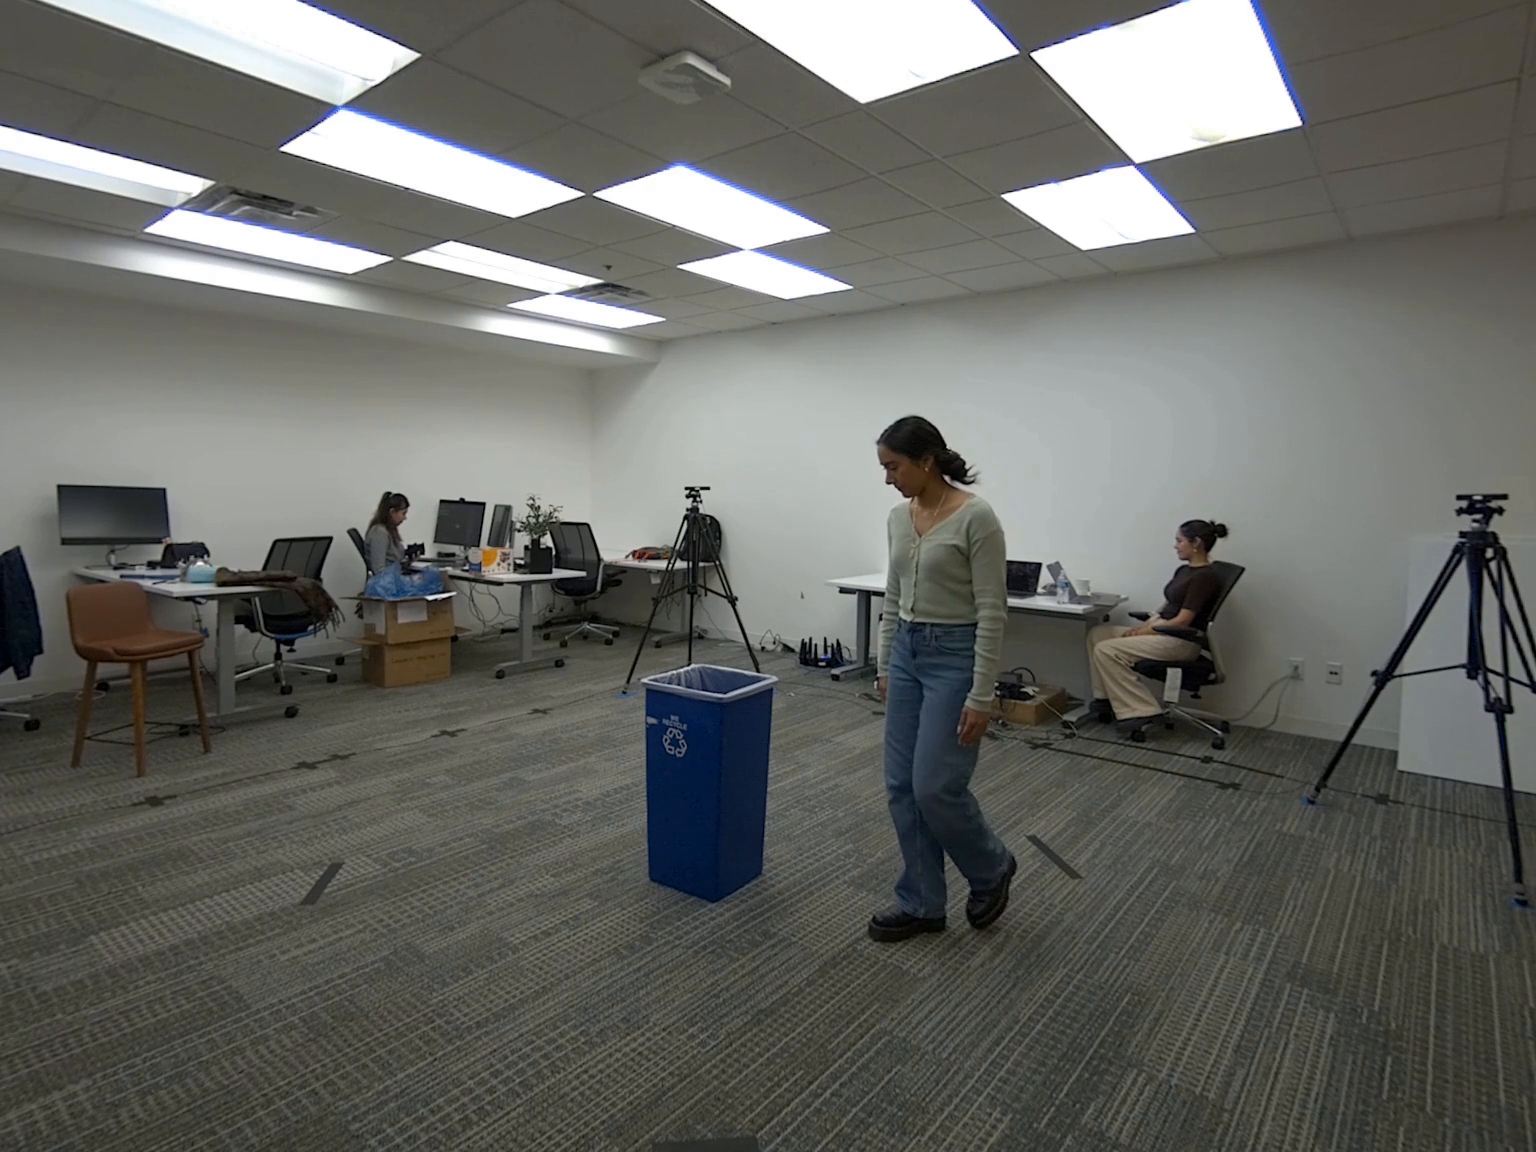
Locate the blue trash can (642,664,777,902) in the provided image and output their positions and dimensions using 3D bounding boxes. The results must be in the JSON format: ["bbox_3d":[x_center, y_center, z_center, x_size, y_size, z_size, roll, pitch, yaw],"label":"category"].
[{"bbox_3d":[-0.216,0.713,3.026,0.386,0.711,0.368,3,4,33],"label":"blue trash can"}]
